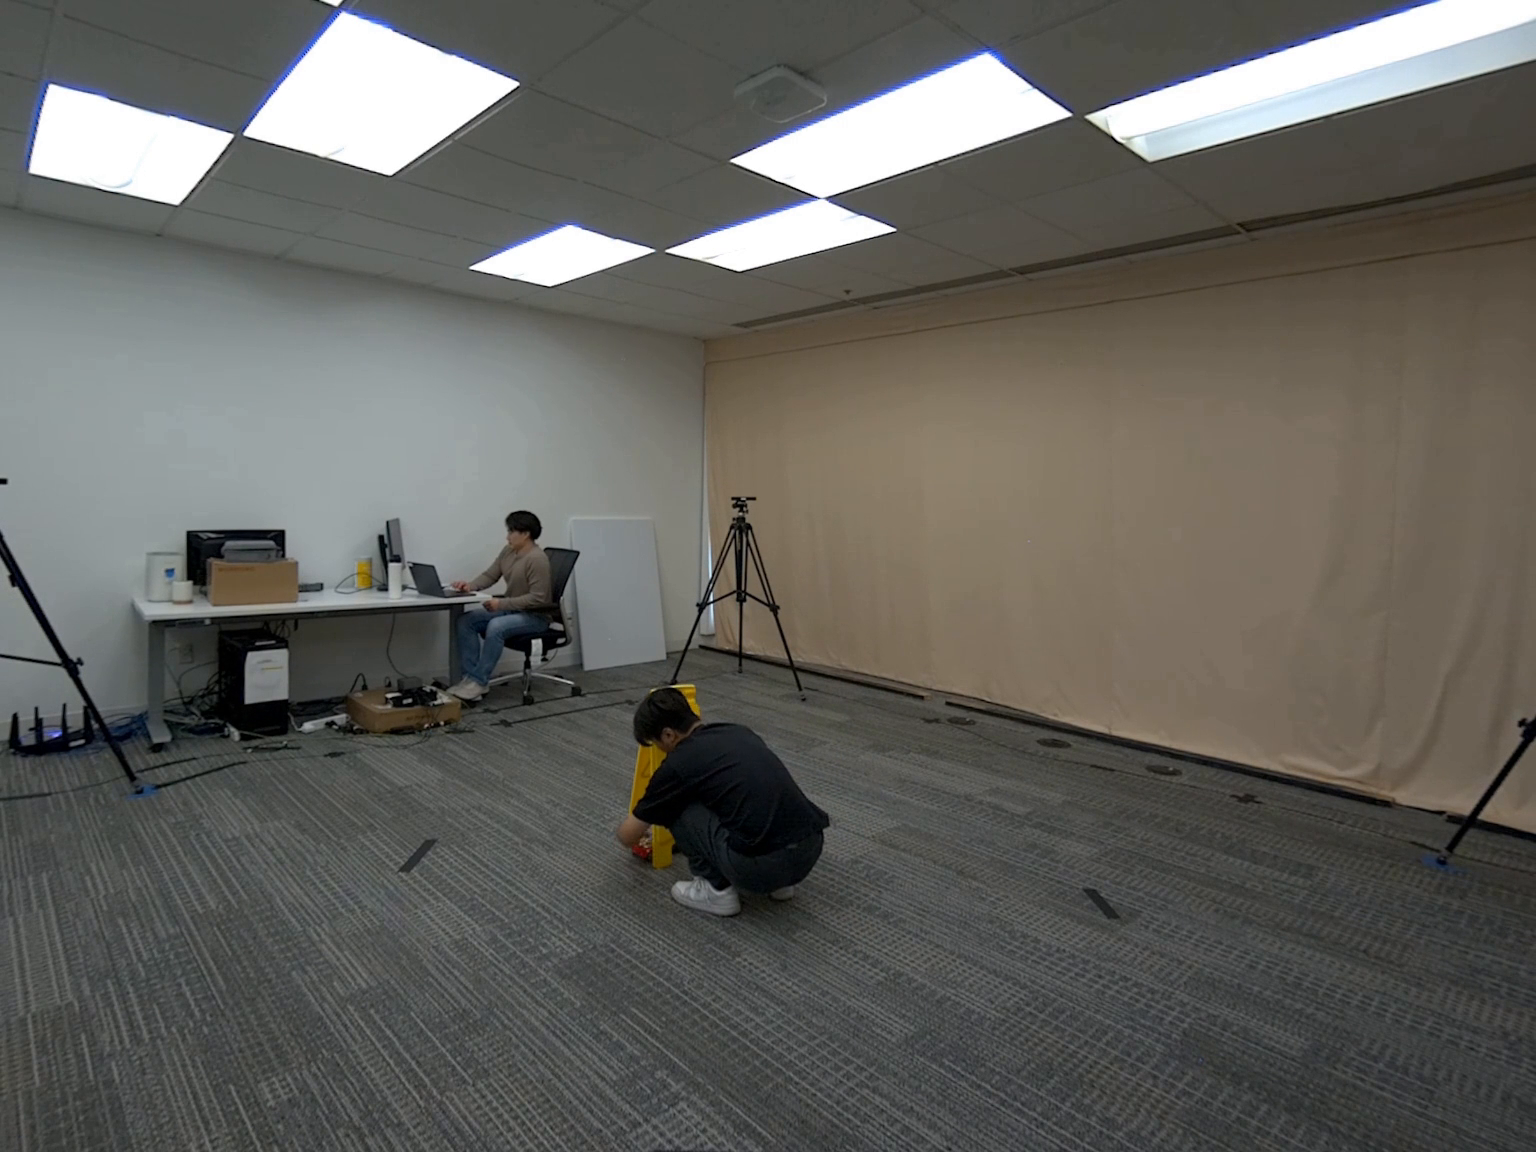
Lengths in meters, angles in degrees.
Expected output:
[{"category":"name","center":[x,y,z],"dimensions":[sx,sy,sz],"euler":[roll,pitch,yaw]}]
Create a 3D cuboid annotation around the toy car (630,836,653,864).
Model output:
[{"category":"toy car","center":[-0.427,1.063,3.322],"dimensions":[0.133,0.082,0.250],"euler":[5,15,43]}]
